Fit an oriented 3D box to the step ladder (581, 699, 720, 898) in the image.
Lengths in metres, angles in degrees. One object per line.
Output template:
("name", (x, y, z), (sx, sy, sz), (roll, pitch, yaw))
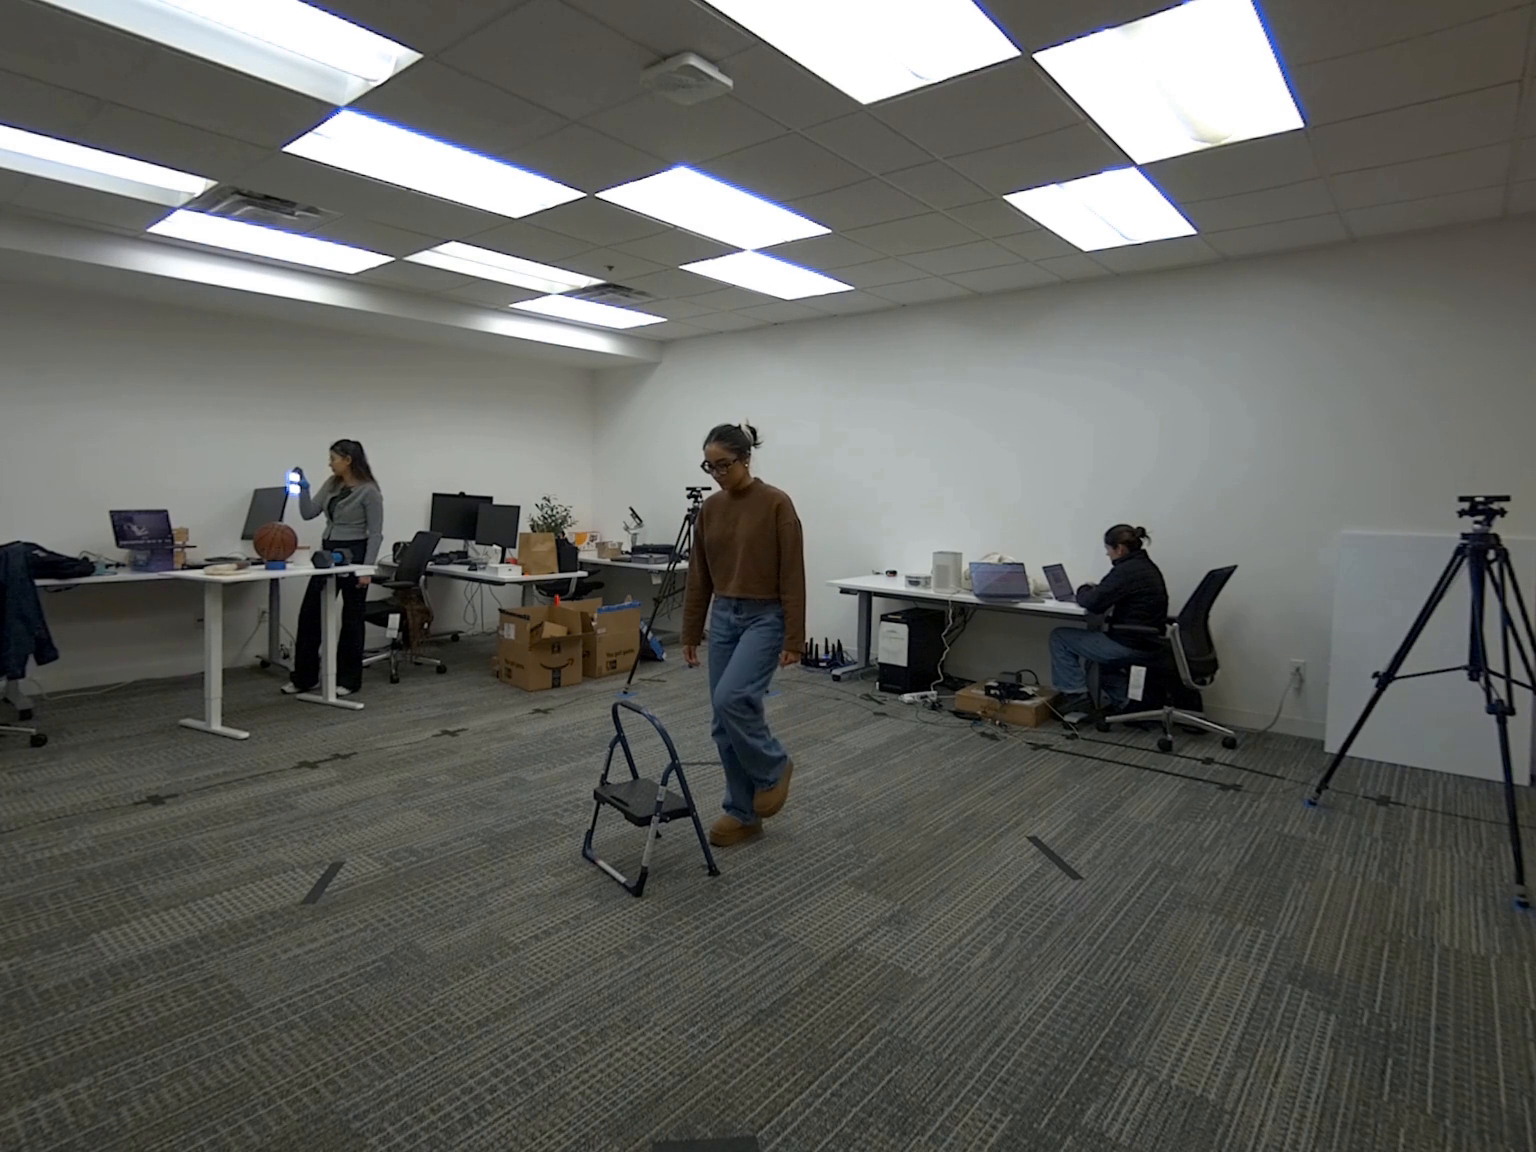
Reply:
("step ladder", (-0.443, 0.756, 3.116), (0.339, 0.604, 0.445), (-2, 4, -39))
